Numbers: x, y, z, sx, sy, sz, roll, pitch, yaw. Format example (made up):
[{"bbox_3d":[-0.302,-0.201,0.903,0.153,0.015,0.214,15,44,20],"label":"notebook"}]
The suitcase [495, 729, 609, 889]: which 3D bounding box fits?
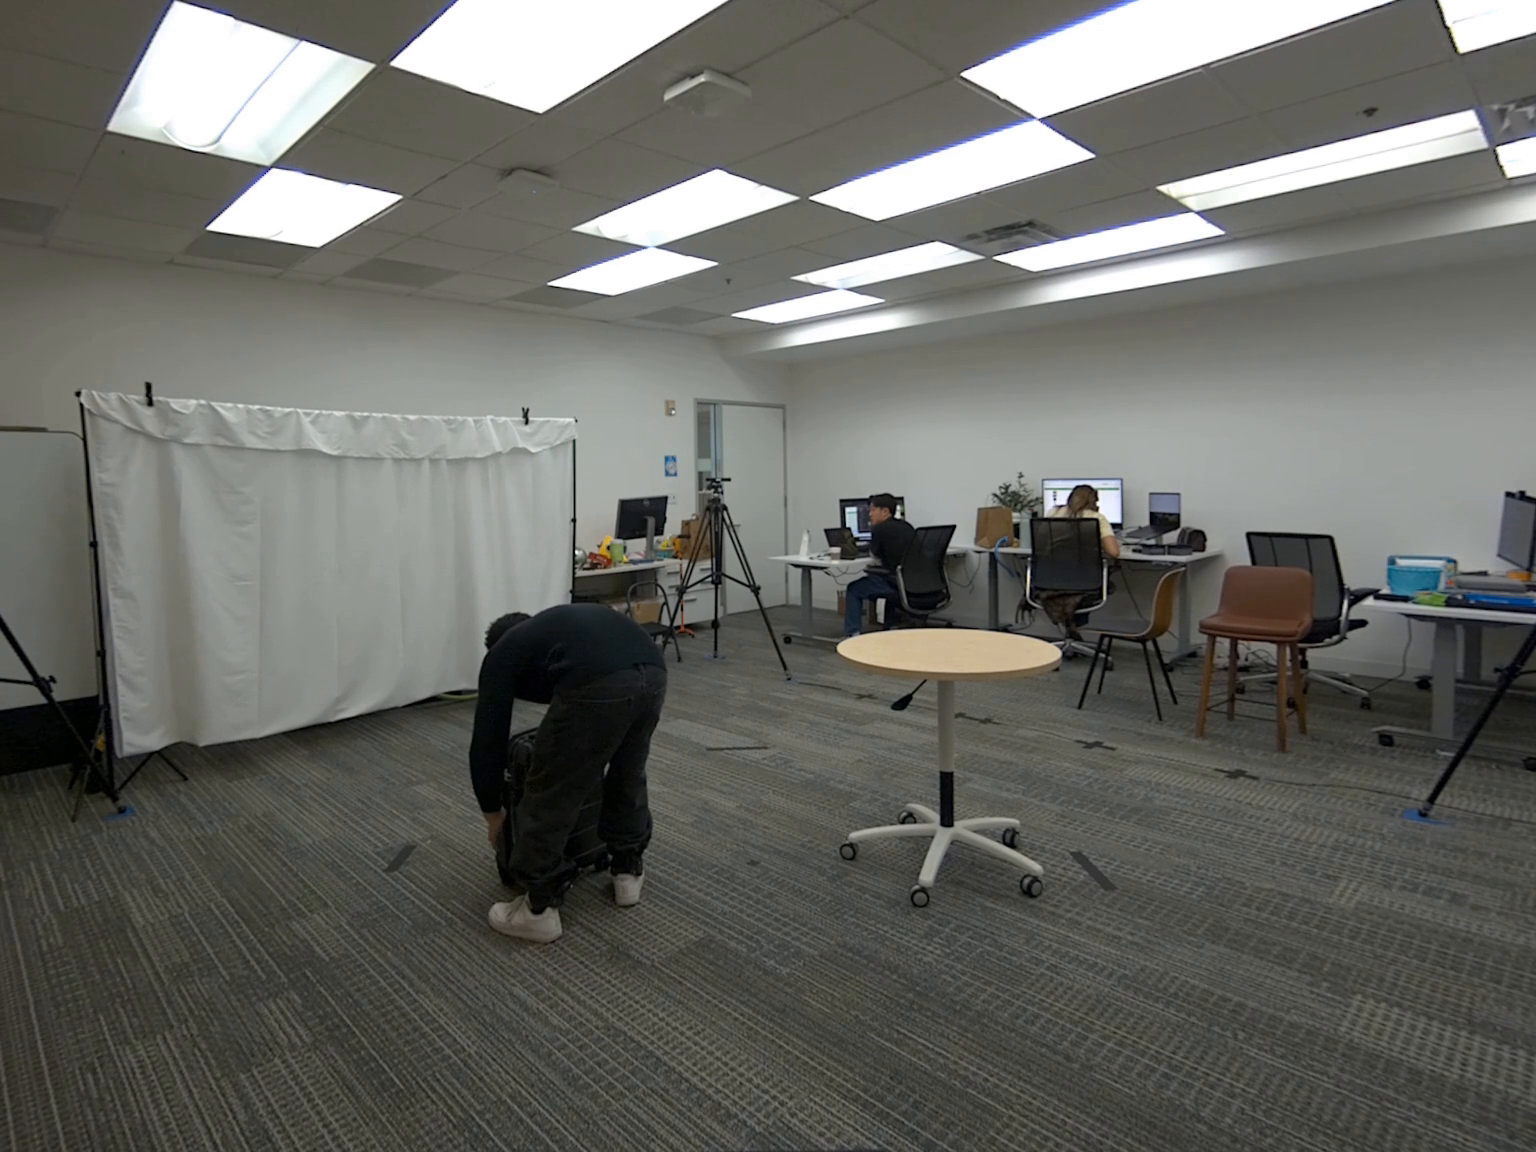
[{"bbox_3d":[-0.762,0.795,3.002,0.256,0.547,0.366,2,6,40],"label":"suitcase"}]
